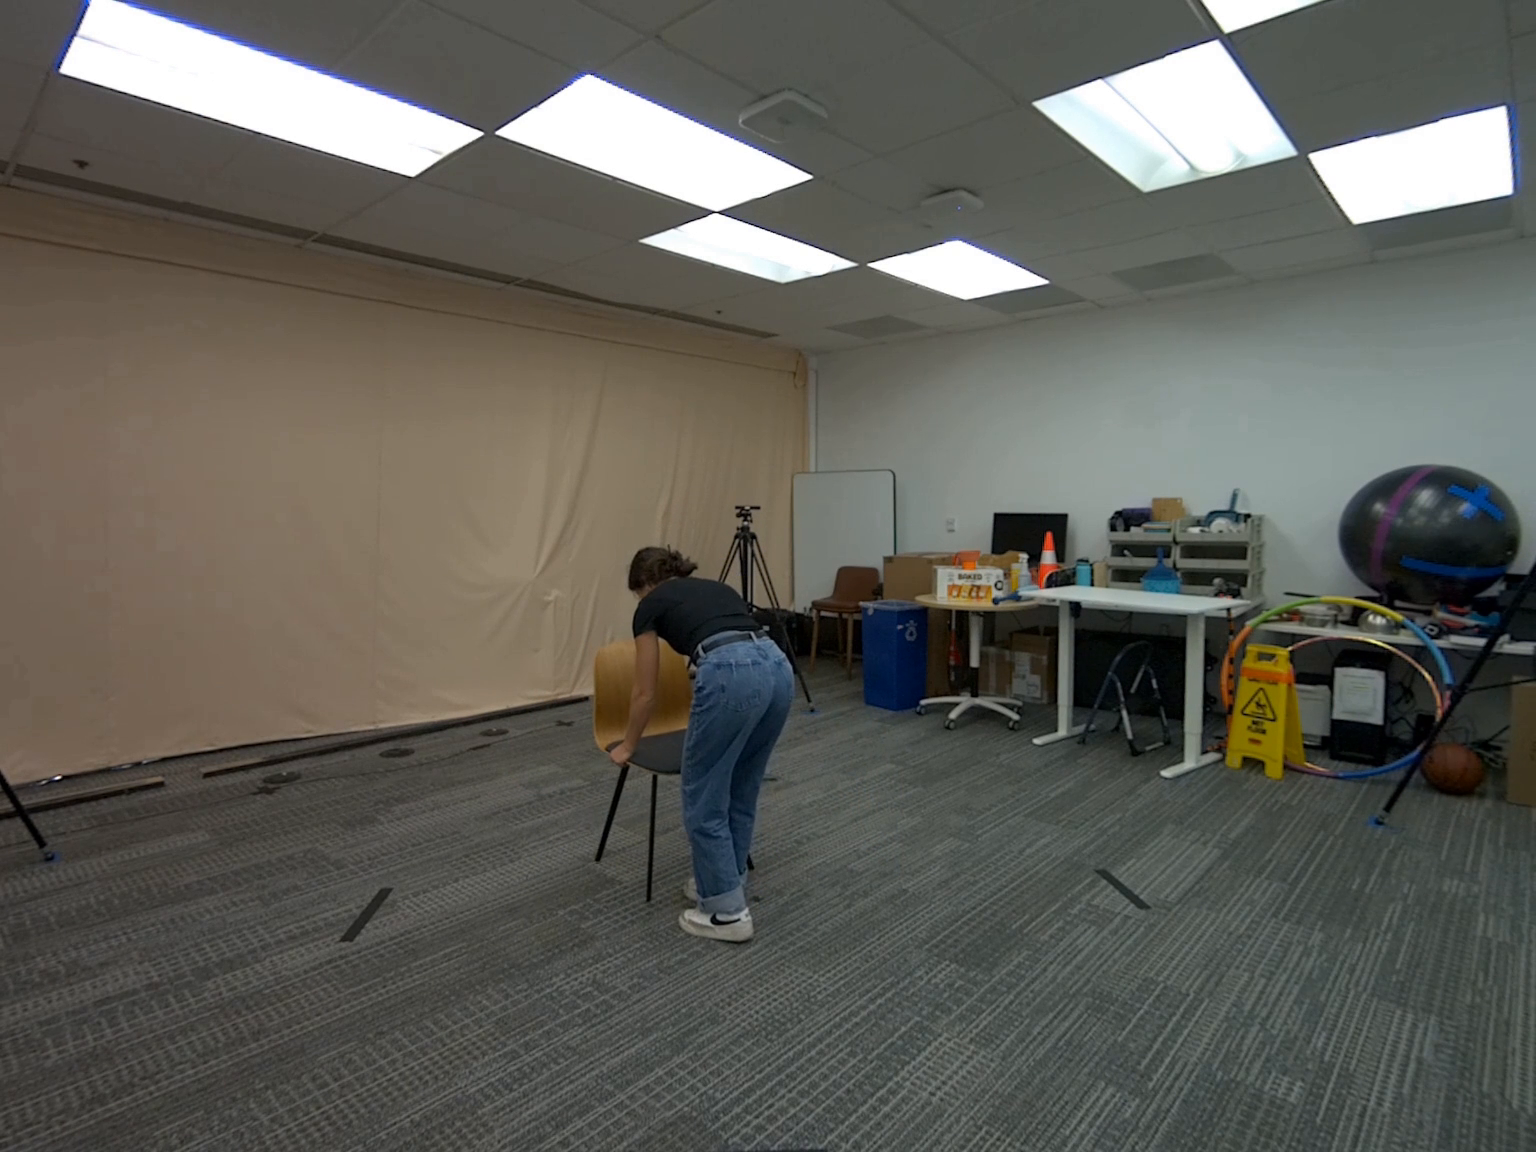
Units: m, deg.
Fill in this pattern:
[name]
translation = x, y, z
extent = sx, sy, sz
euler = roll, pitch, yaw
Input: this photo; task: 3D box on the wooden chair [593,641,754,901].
[wooden chair]
translation = -0.378, 0.683, 3.208
extent = 0.465, 0.878, 0.537
euler = -4, -1, -34
